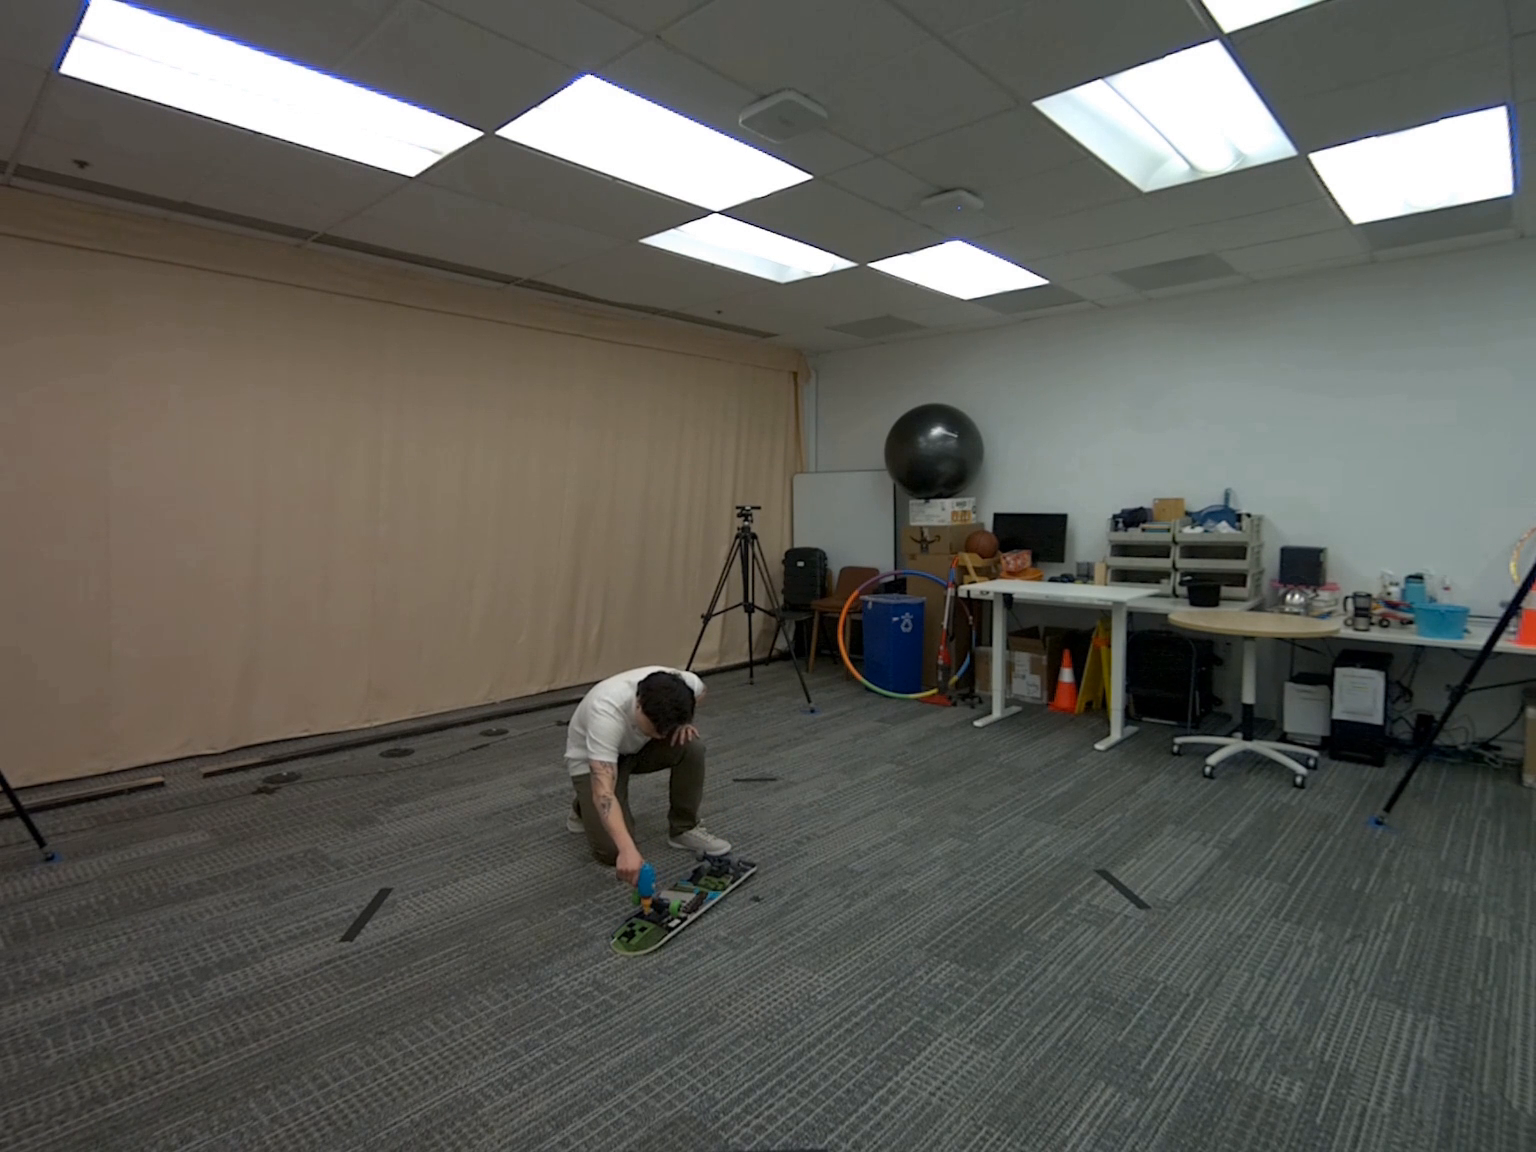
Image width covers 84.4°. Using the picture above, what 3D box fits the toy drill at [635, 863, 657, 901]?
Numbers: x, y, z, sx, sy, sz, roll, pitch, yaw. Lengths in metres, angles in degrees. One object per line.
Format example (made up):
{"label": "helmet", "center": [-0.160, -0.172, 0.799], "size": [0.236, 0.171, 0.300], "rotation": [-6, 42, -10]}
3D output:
{"label": "toy drill", "center": [-0.438, 1.021, 2.794], "size": [0.150, 0.169, 0.060], "rotation": [3, 9, 30]}
